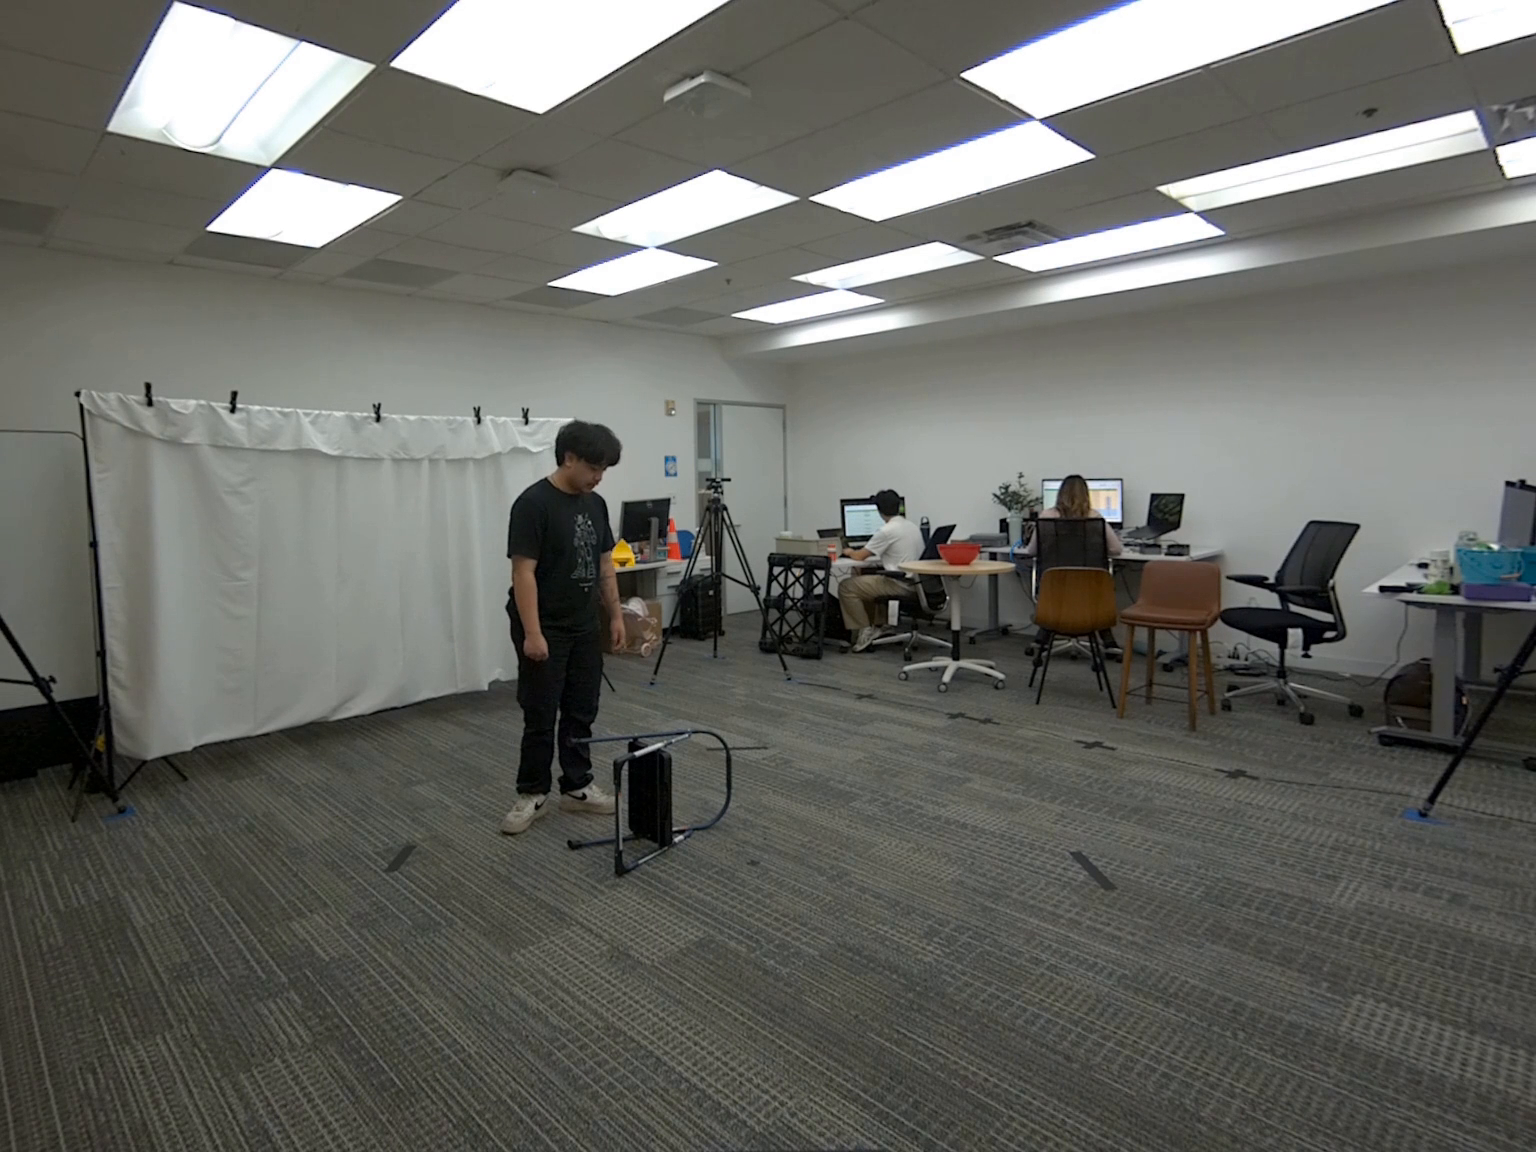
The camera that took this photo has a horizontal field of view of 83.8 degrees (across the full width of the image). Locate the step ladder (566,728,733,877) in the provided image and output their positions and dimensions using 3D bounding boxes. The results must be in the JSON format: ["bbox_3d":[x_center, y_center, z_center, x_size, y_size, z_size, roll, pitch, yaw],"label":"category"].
[{"bbox_3d":[-0.423,0.813,3.305,0.590,0.429,0.360,-5,7,-41],"label":"step ladder"}]
